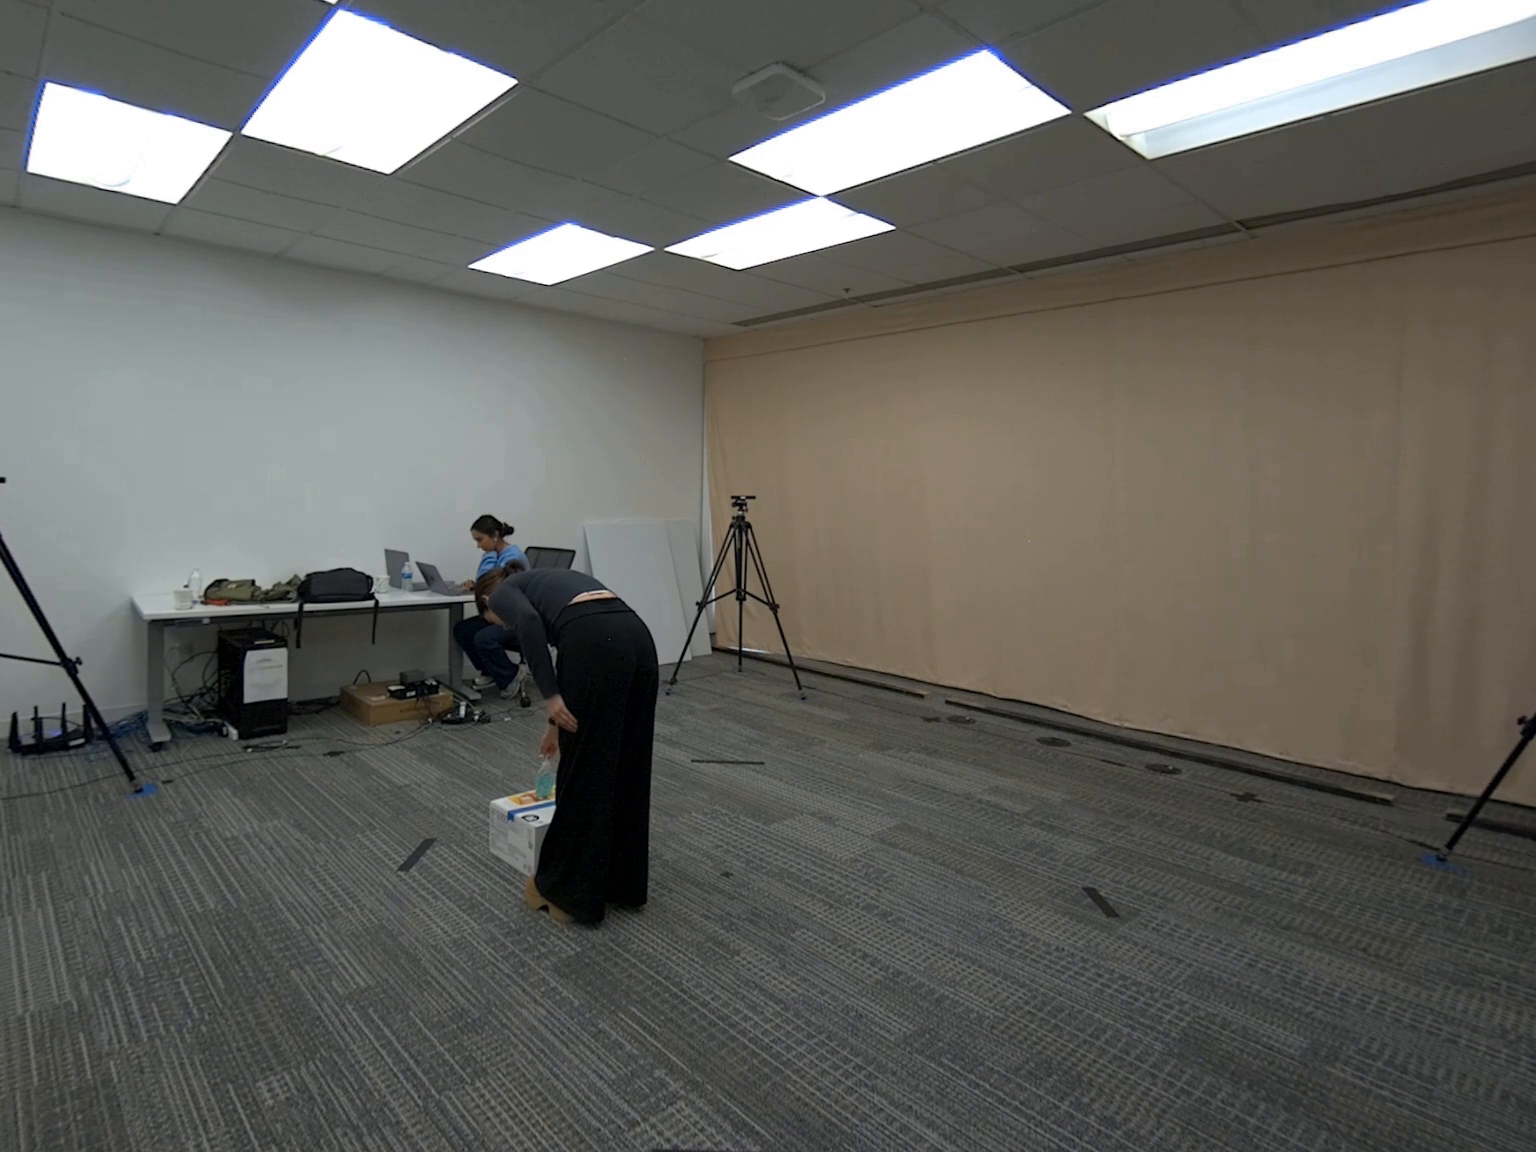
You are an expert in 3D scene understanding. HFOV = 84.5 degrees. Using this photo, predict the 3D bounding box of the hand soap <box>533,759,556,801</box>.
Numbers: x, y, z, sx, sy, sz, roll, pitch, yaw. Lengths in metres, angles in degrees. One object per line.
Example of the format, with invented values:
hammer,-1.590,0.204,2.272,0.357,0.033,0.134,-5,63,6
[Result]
hand soap,-0.888,0.788,3.321,0.083,0.167,0.044,0,12,-36
